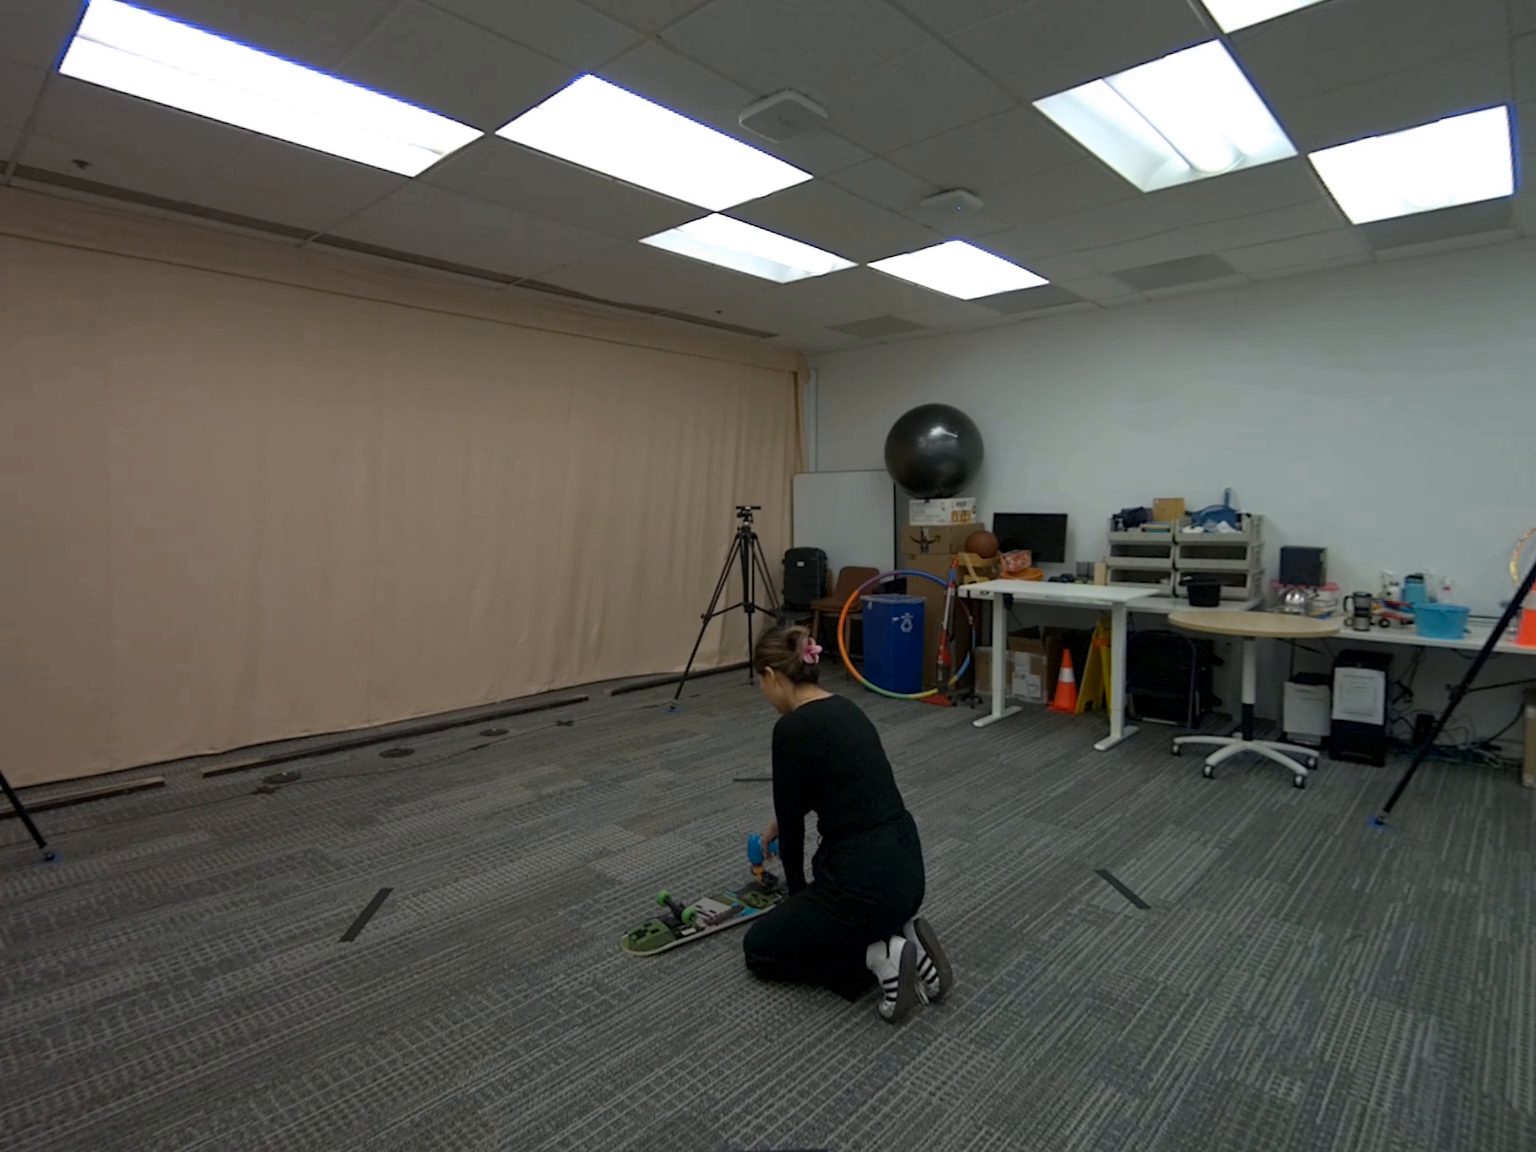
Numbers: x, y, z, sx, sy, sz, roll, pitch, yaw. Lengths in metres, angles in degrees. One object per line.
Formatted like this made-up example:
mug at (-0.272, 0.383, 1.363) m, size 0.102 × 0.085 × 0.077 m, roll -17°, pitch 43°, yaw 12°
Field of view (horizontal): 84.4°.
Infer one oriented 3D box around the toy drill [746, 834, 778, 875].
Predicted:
toy drill at (0.003, 1.000, 2.959) m, size 0.149 × 0.171 × 0.059 m, roll -9°, pitch -7°, yaw 24°
